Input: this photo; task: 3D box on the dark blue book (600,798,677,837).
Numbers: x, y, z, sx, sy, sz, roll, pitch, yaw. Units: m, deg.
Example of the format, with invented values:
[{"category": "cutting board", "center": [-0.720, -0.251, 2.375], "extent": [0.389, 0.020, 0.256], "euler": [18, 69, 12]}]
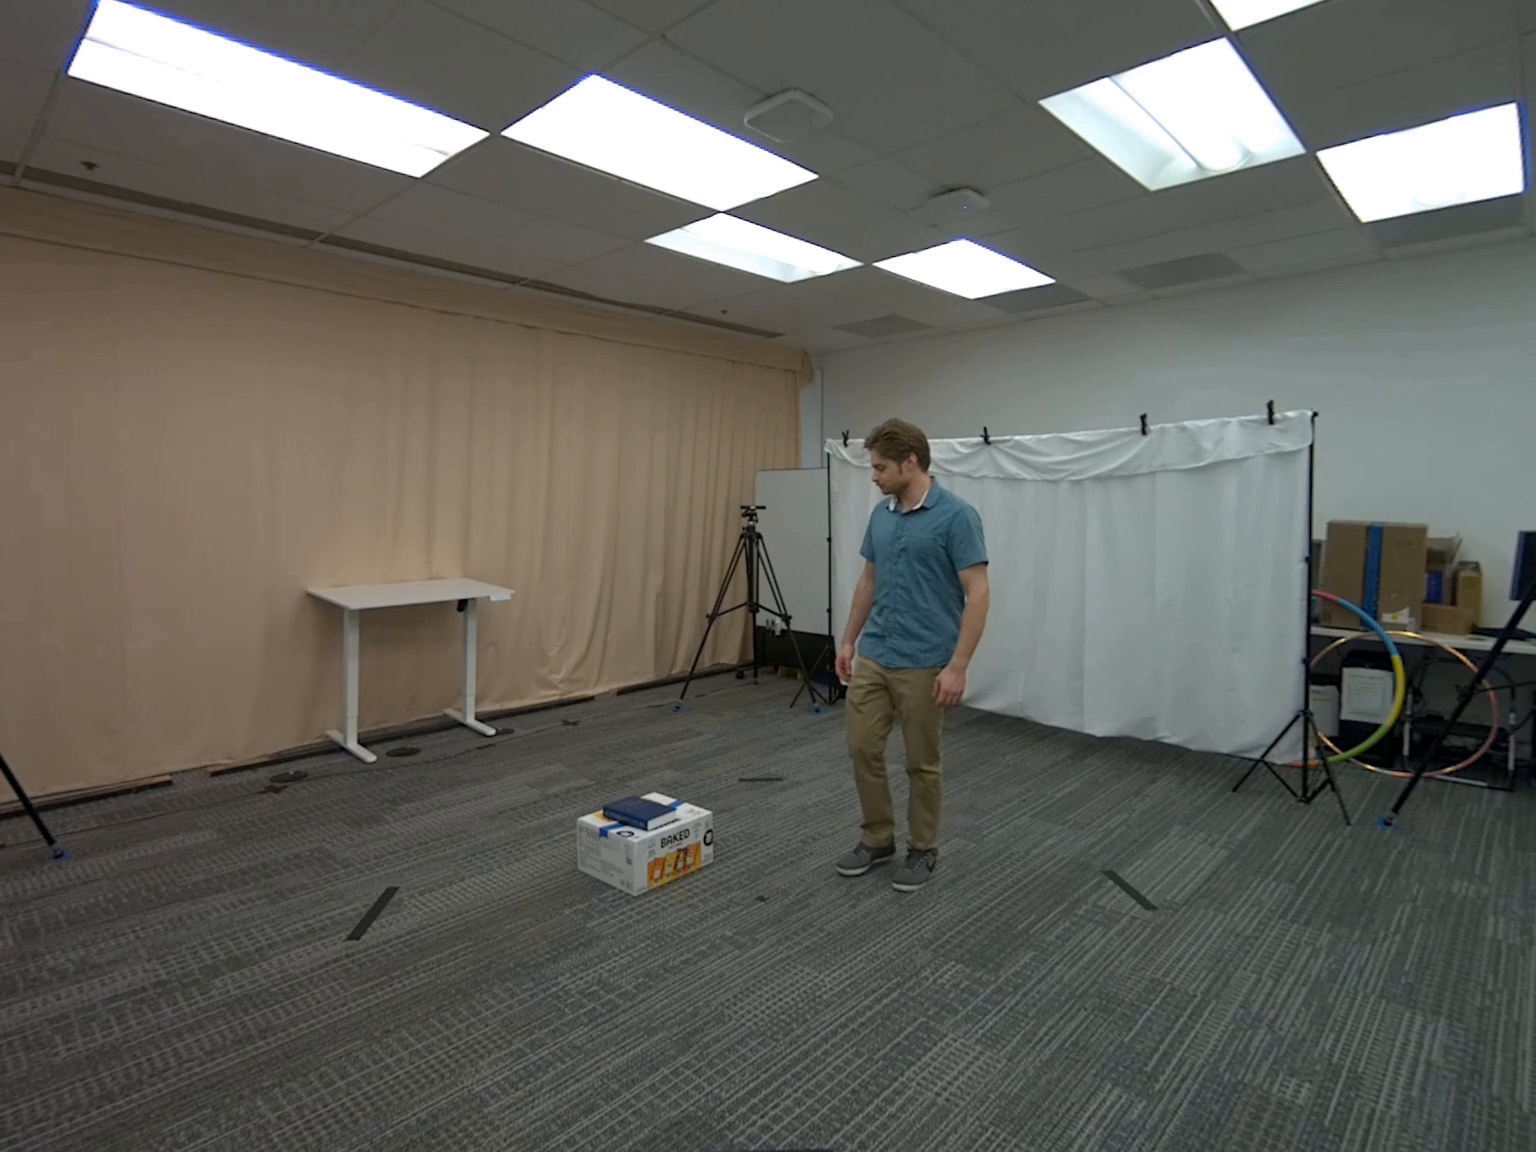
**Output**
[{"category": "dark blue book", "center": [-0.495, 0.915, 3.231], "extent": [0.253, 0.045, 0.158], "euler": [2, 5, 37]}]
